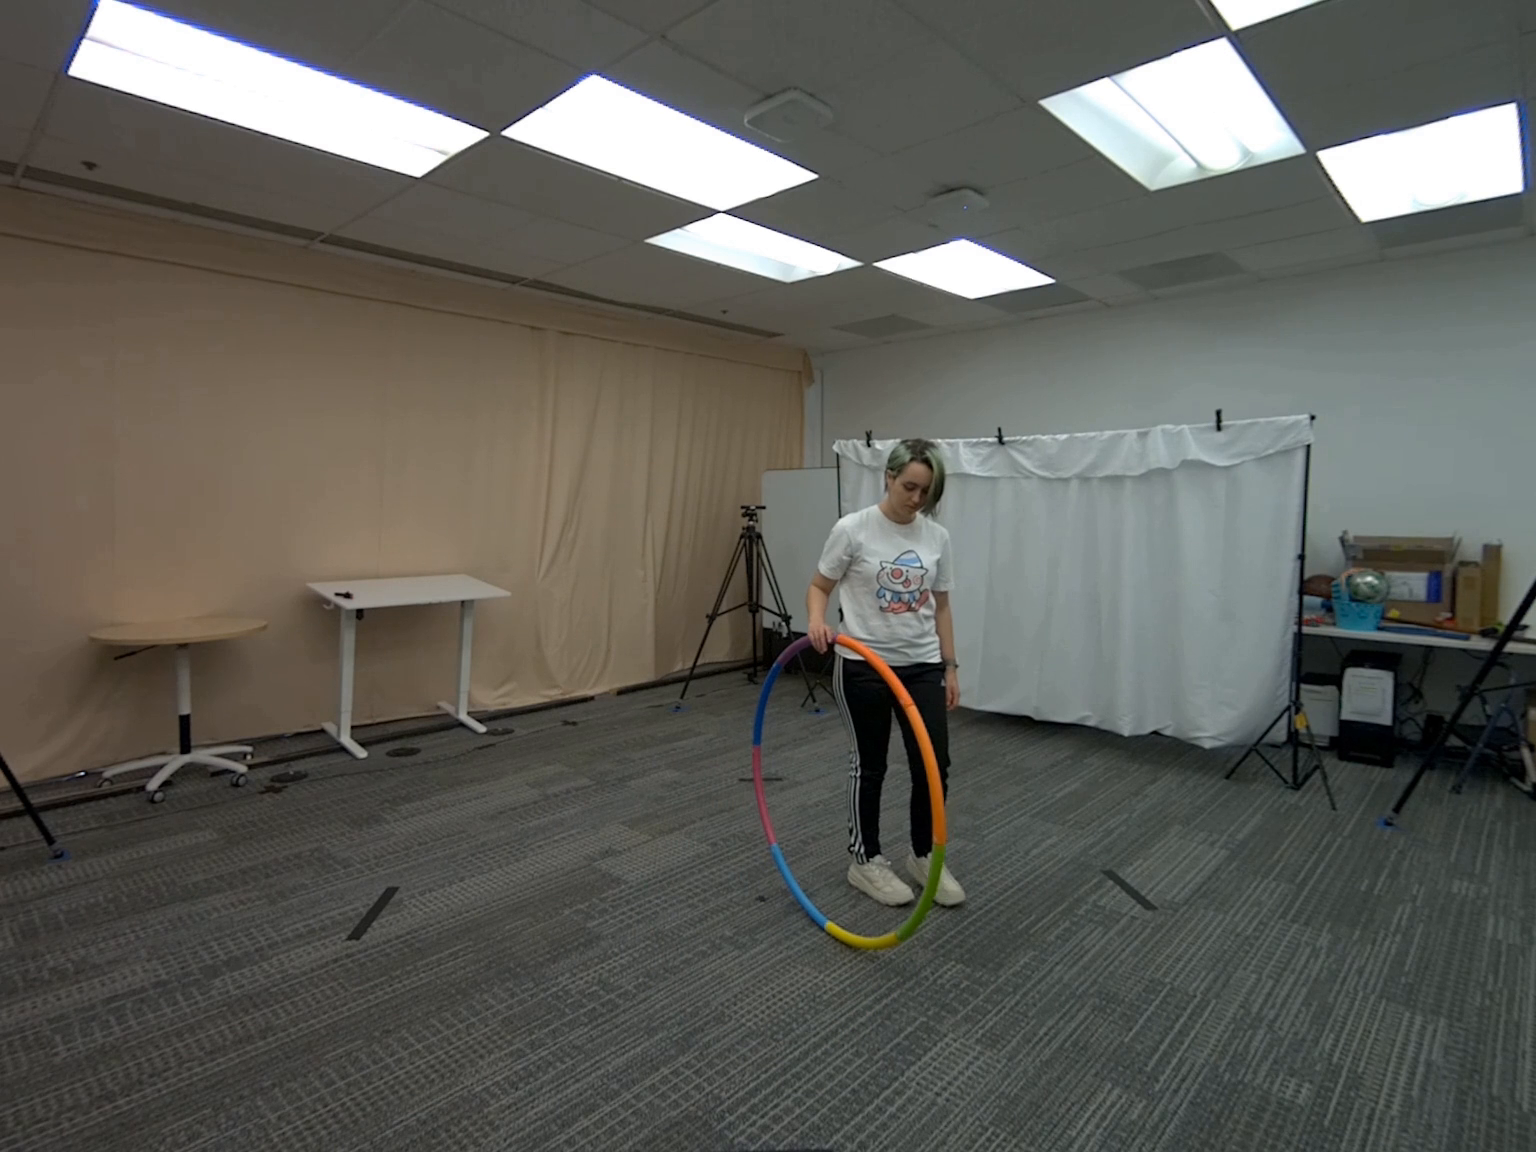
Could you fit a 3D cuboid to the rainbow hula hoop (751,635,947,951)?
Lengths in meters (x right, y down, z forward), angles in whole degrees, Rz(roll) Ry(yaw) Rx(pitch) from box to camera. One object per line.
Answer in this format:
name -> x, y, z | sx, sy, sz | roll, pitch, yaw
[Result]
rainbow hula hoop -> 0.220, 0.676, 2.720 | 0.034, 0.977, 1.008 | -1, 4, -32
